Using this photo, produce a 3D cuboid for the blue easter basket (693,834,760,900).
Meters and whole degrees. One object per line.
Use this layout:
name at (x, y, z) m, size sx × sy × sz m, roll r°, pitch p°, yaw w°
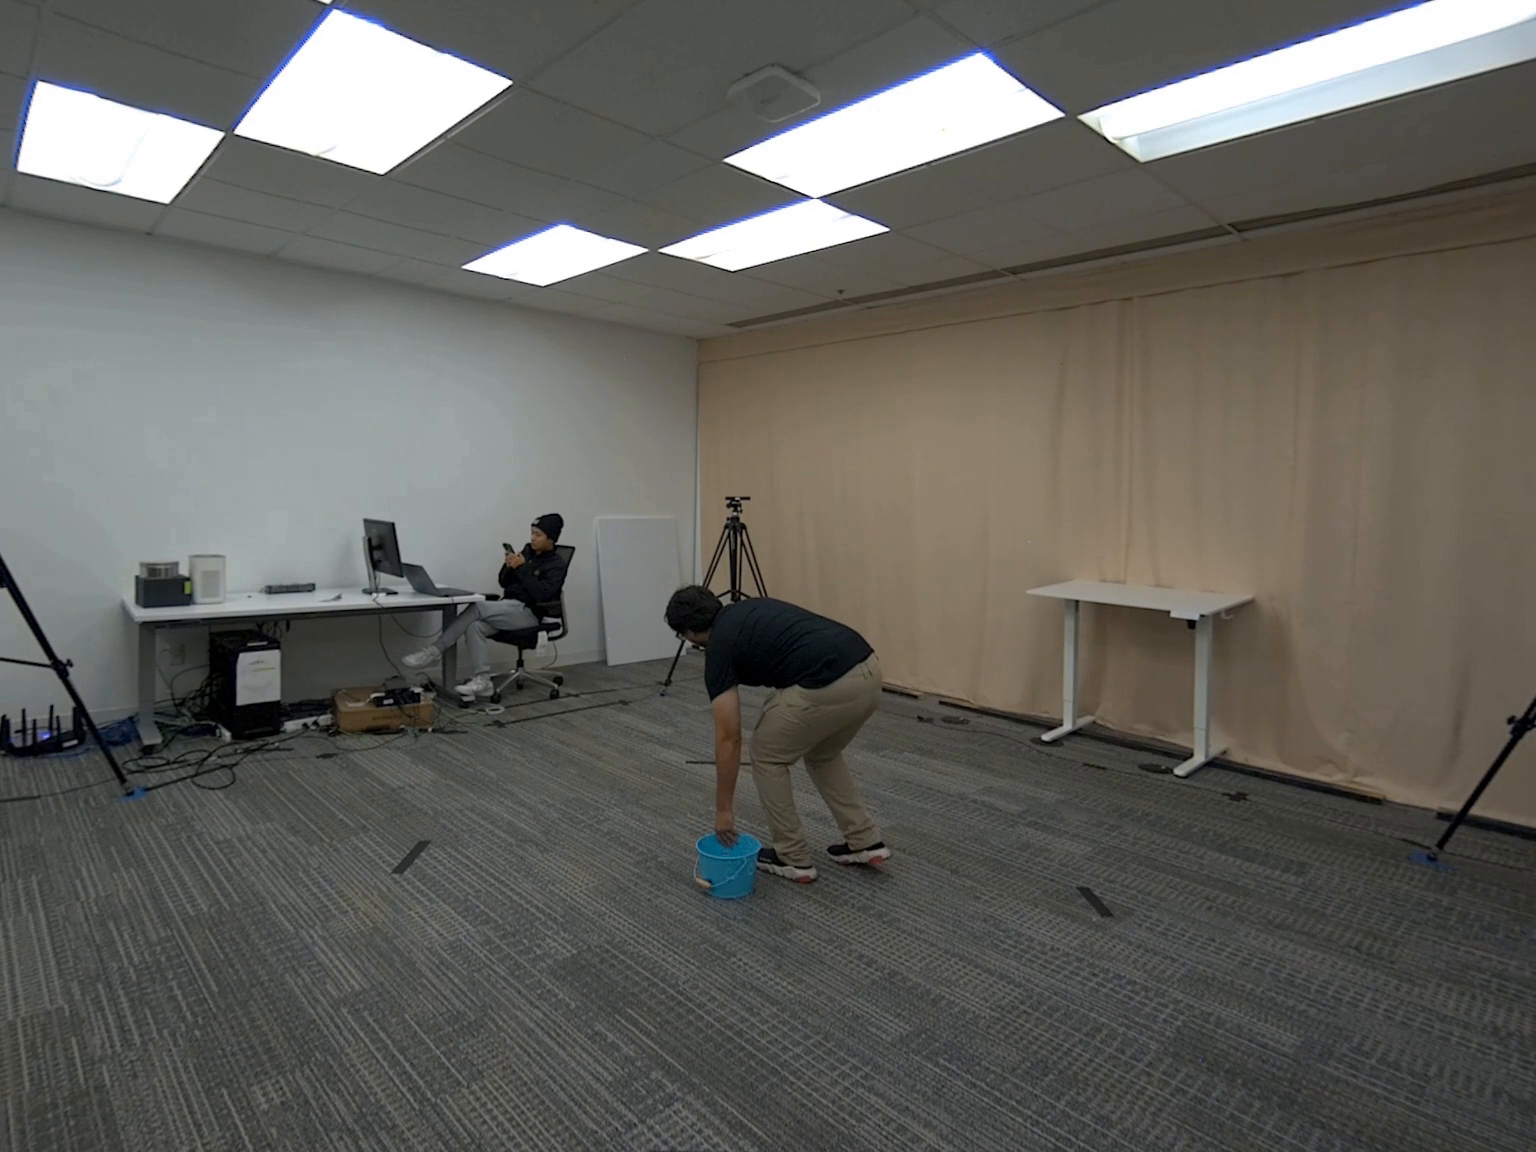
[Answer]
blue easter basket at (-0.153, 1.037, 3.015) m, size 0.243 × 0.155 × 0.244 m, roll 1°, pitch 4°, yaw -1°
